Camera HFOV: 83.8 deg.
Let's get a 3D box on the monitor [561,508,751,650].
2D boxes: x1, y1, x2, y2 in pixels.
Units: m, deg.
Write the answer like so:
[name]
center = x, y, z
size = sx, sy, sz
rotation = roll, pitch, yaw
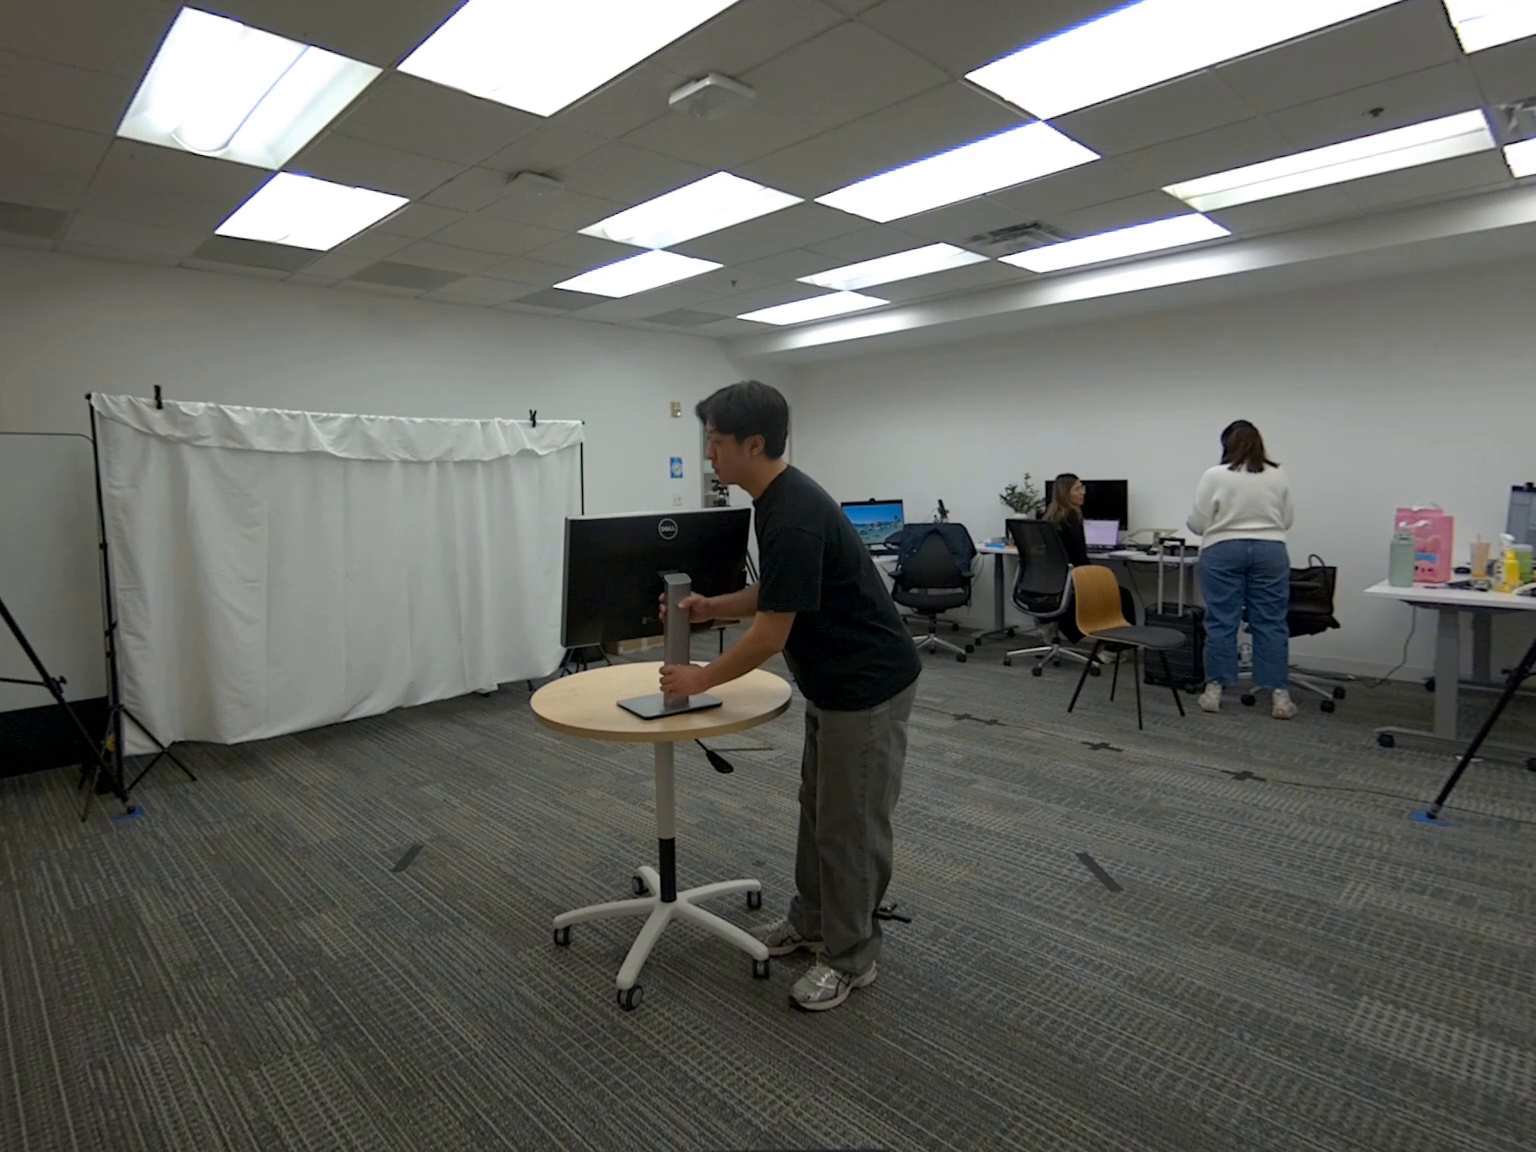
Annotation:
[monitor]
center = -0.280, 0.101, 2.357
size = 0.549, 0.565, 0.228
rotation = -4, 3, -28
